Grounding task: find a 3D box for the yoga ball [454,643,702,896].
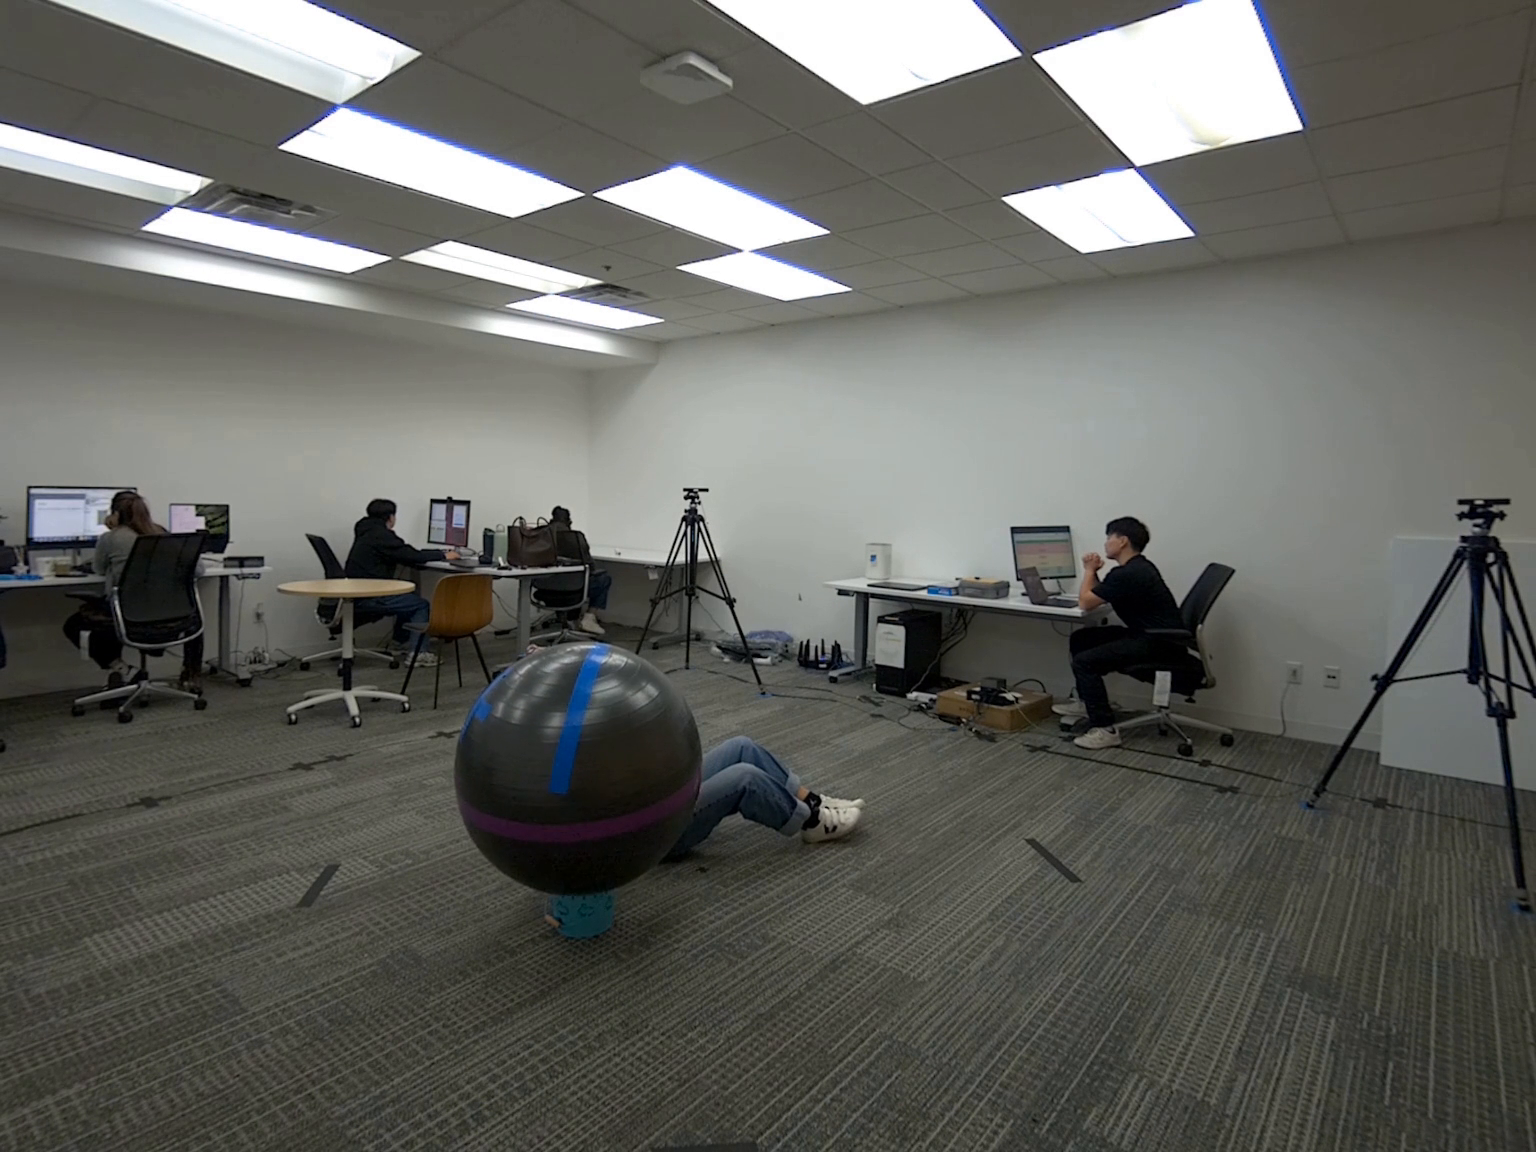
[{"bbox_3d":[-0.594,0.588,2.654,0.757,0.756,0.761,1,4,-2],"label":"yoga ball"}]
